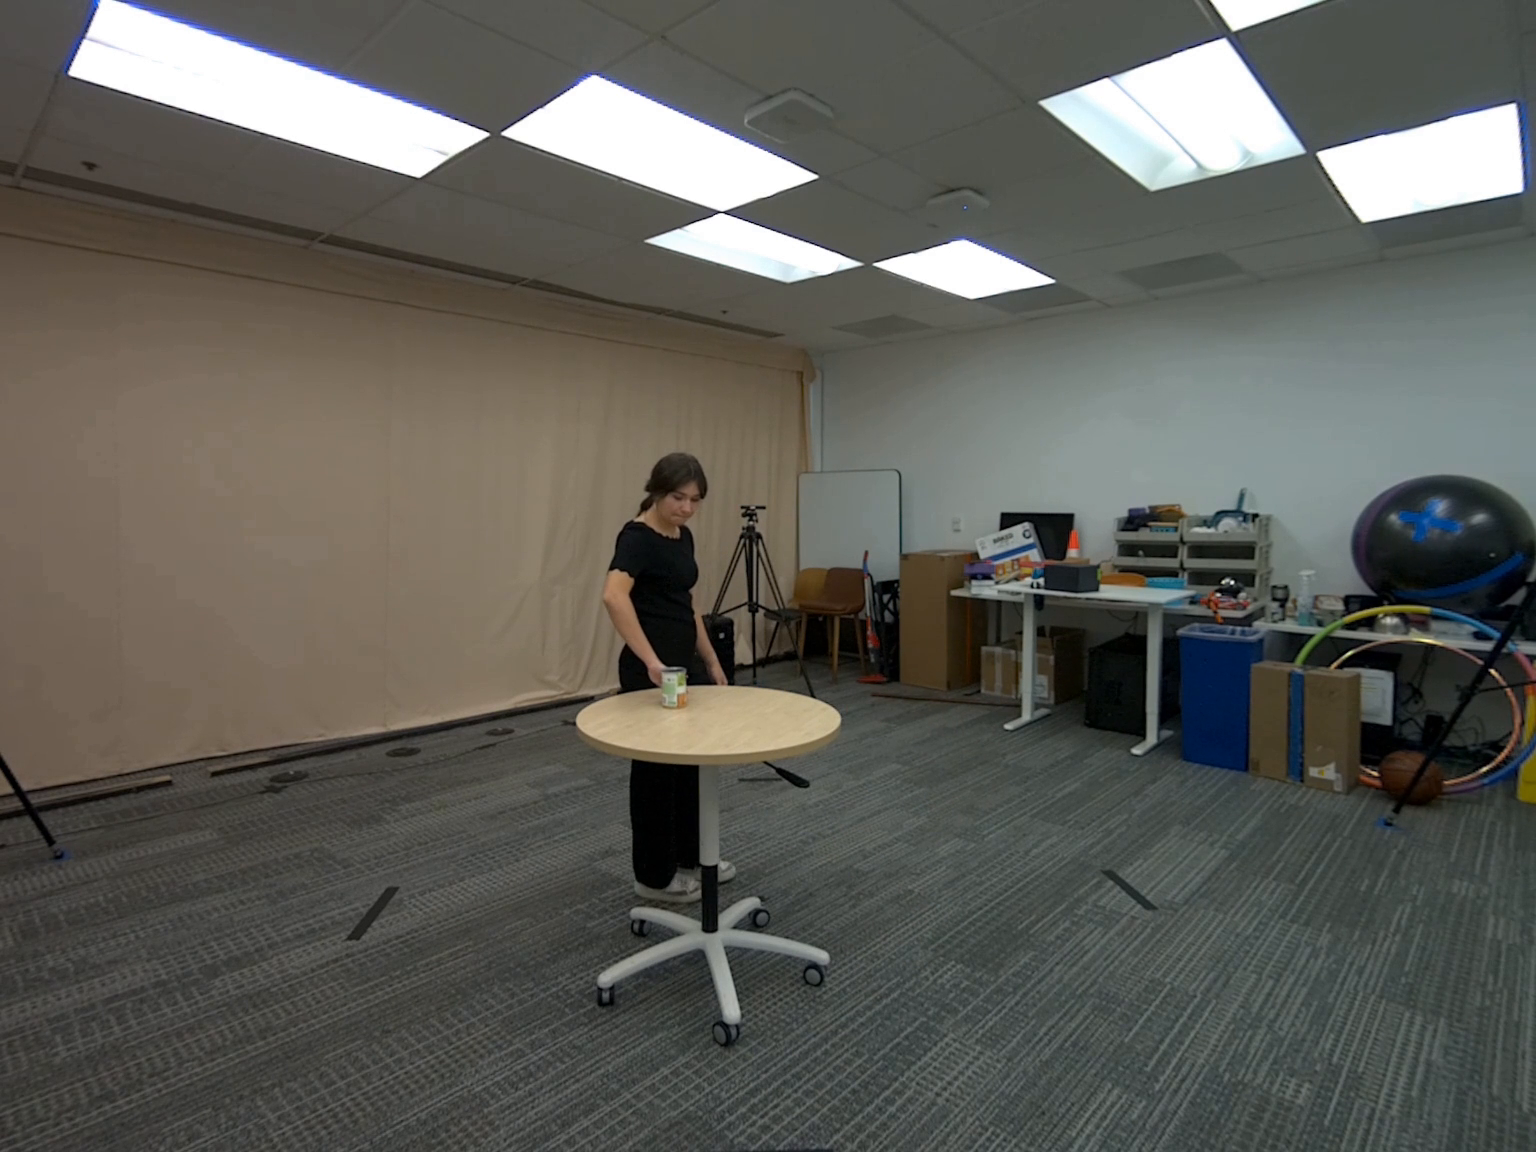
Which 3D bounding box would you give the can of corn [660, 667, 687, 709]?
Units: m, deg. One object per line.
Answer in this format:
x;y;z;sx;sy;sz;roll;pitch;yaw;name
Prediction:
-0.289;0.341;2.552;0.074;0.111;0.074;-2;3;-2;can of corn
